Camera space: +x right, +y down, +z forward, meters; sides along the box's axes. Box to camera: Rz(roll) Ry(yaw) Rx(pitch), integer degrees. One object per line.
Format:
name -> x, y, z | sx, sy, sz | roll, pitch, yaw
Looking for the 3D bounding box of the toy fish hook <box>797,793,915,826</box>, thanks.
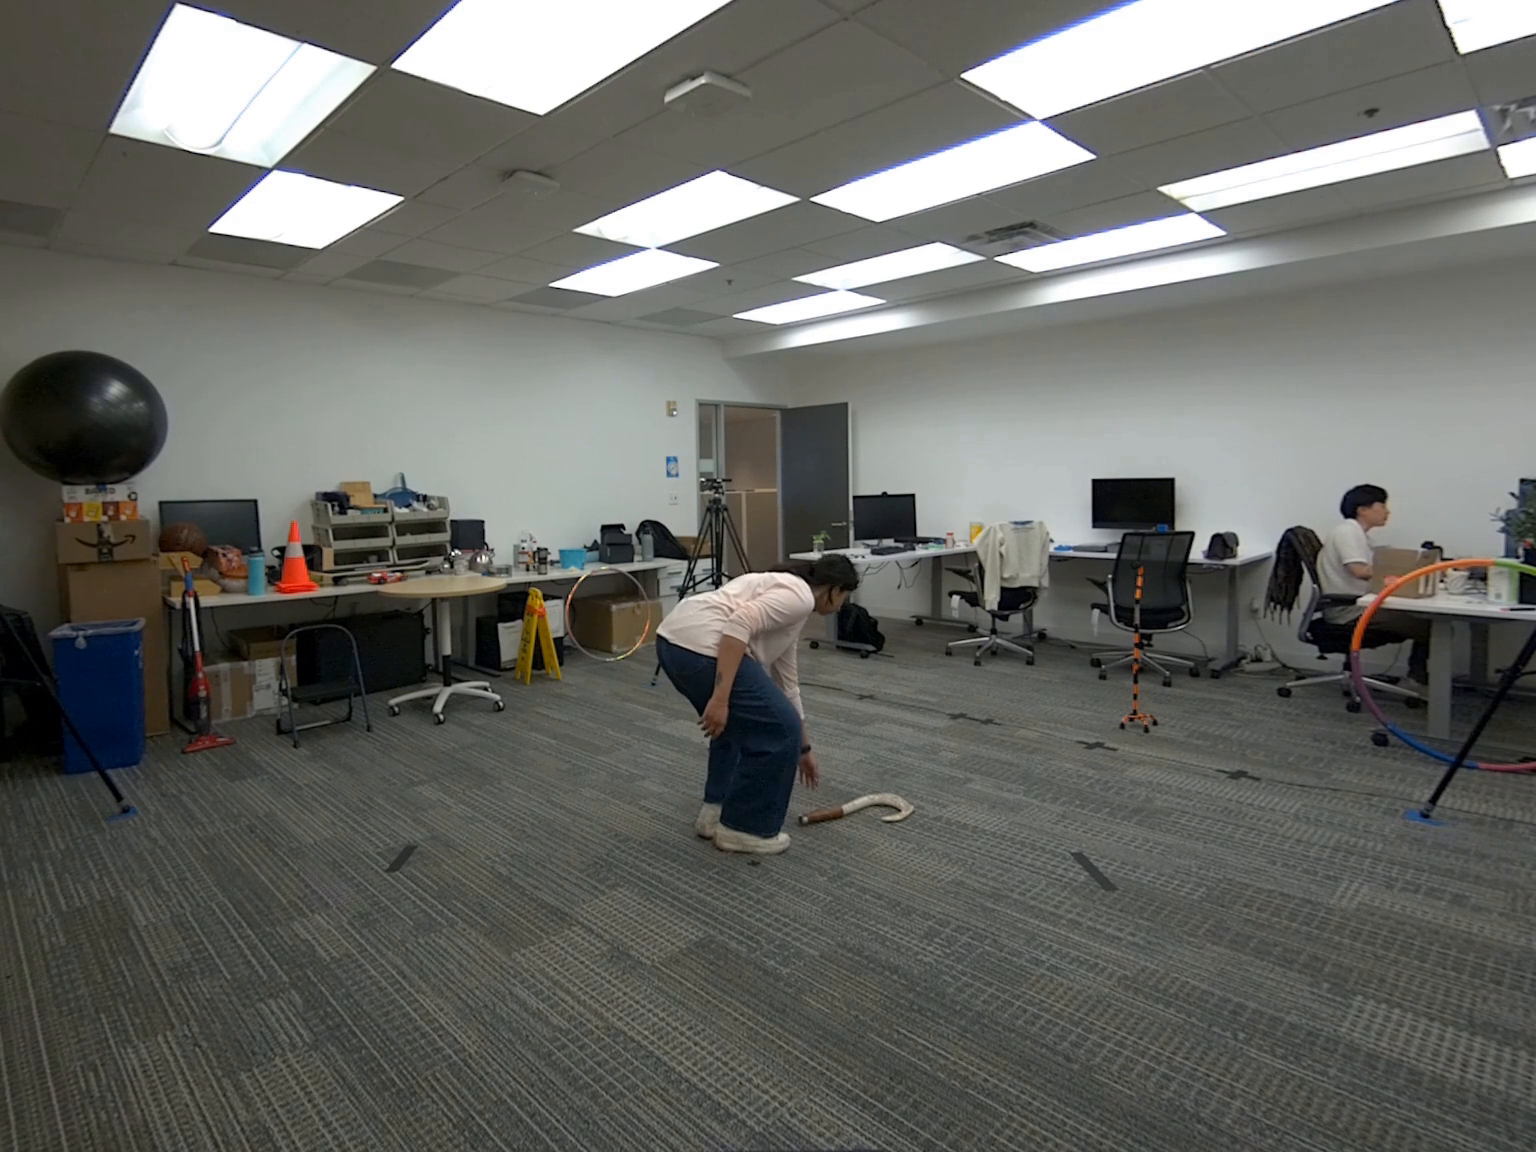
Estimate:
toy fish hook -> 0.368, 0.966, 3.501 | 0.495, 0.048, 0.231 | -5, 8, -28
